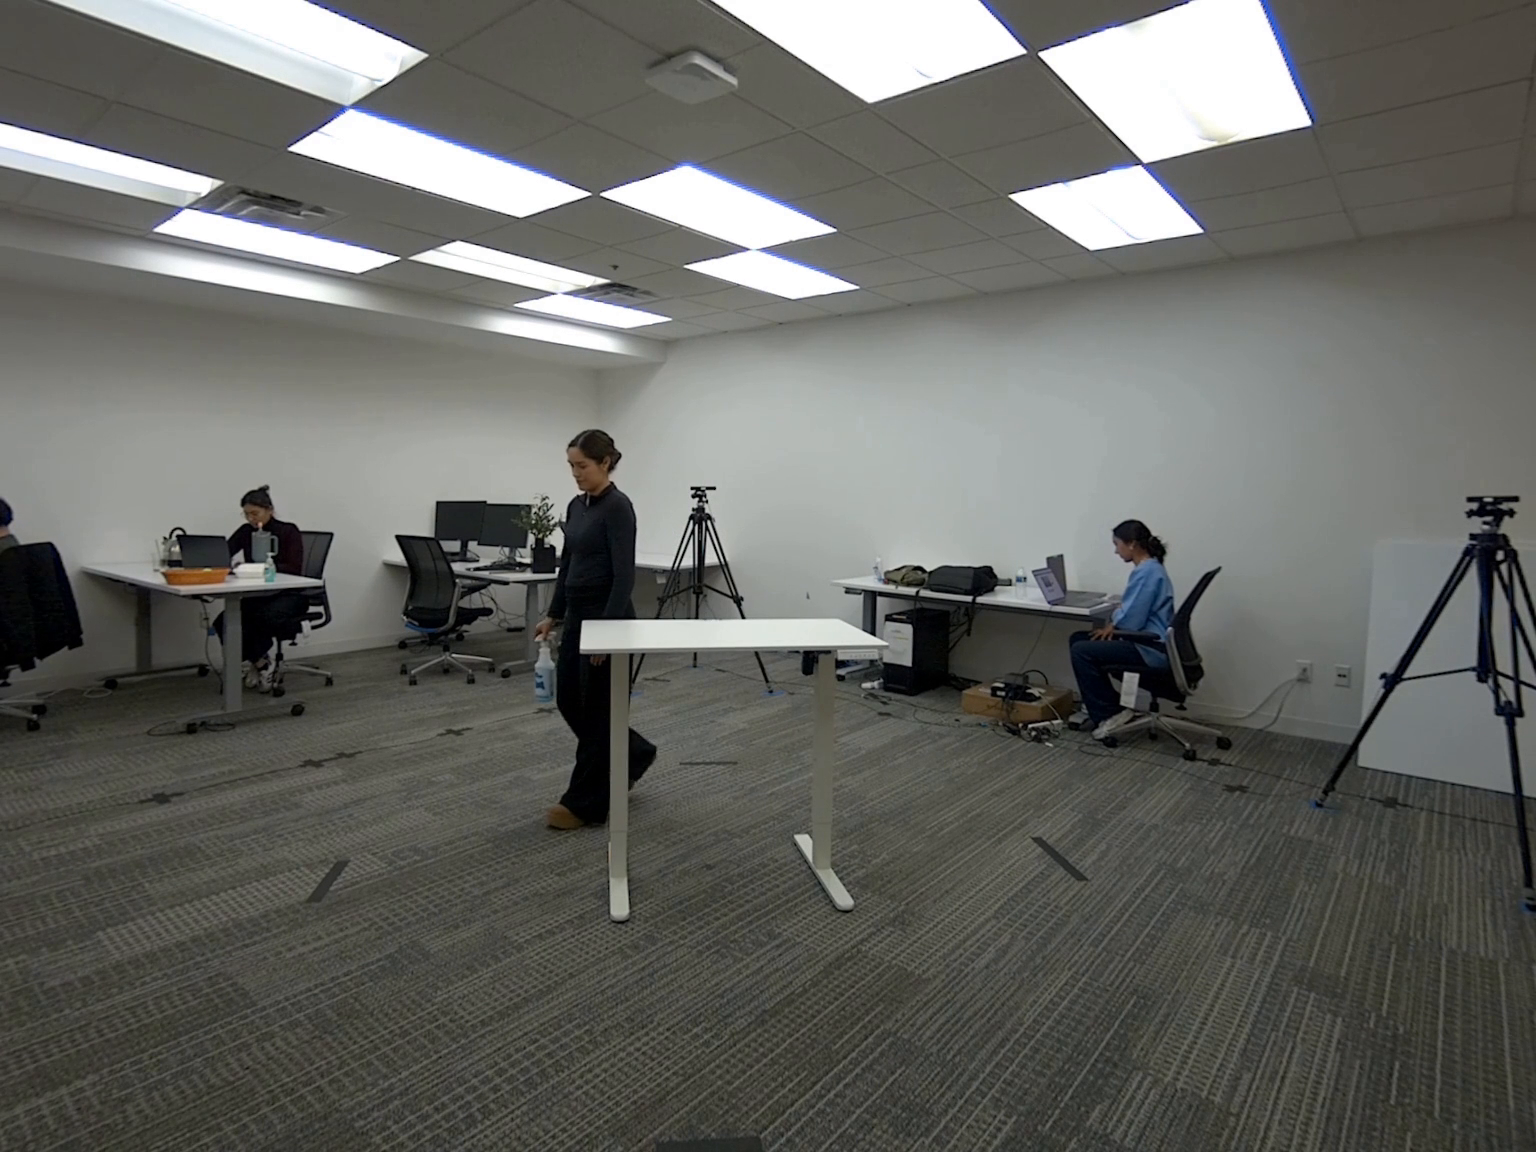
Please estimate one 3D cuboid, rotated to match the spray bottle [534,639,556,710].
[{"bbox_3d":[-0.989,0.396,3.715,0.090,0.295,0.088,3,7,-2],"label":"spray bottle"}]
